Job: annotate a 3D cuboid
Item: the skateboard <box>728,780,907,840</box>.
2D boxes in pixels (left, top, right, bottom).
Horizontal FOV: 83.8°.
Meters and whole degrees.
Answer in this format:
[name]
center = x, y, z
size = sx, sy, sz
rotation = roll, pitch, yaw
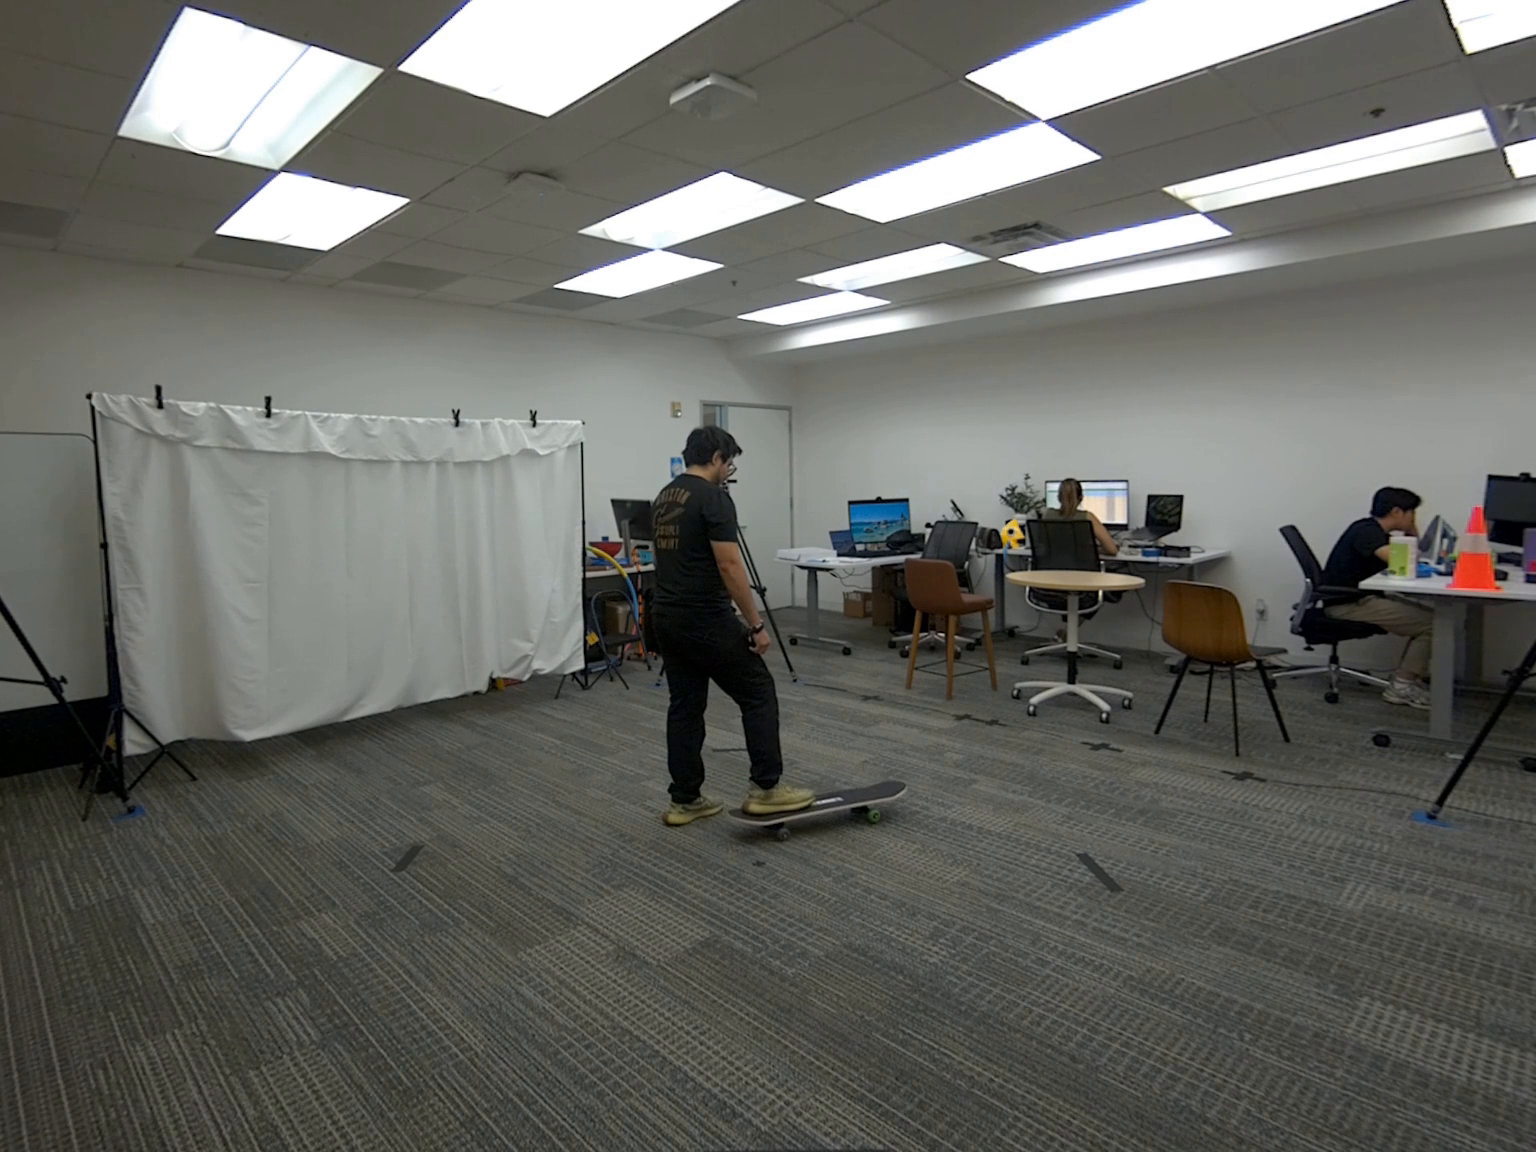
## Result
[skateboard]
center = 0.207, 0.942, 3.449
size = 0.772, 0.110, 0.197
rotation = -4, 3, -20
